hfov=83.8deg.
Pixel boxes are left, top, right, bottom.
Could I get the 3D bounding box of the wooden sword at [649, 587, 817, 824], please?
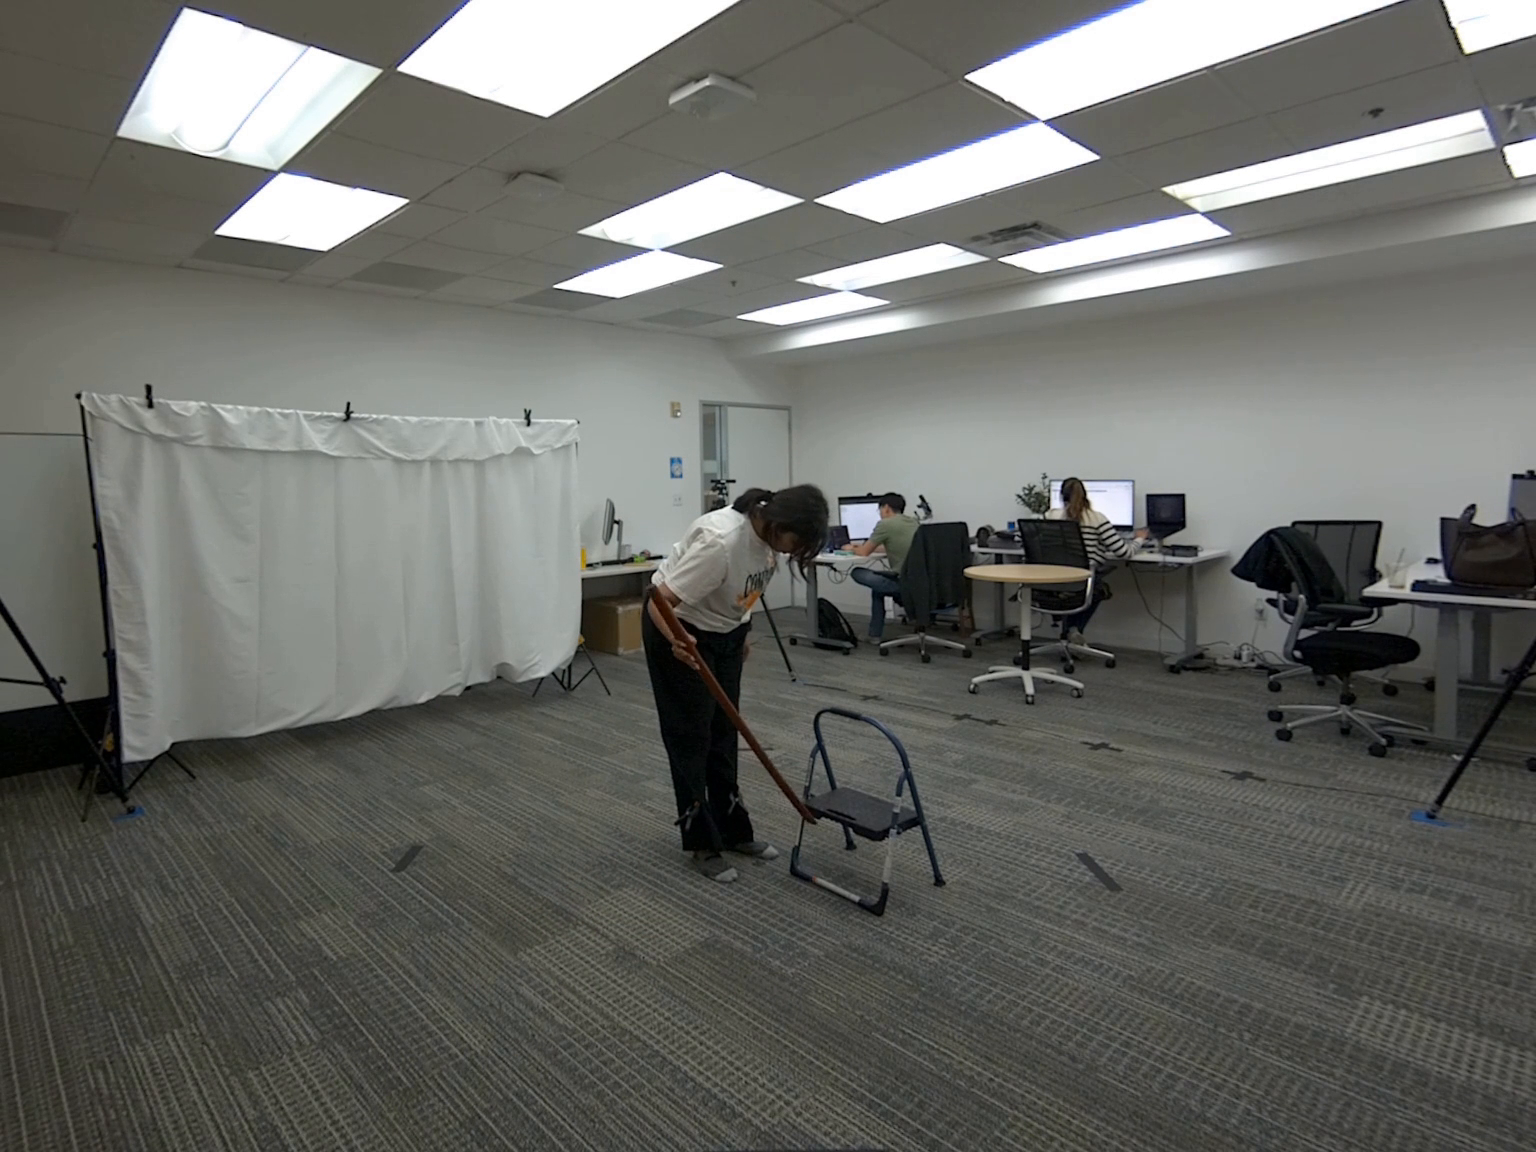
[{"bbox_3d":[-0.096,0.432,2.633,0.025,0.998,0.051,-1,36,50],"label":"wooden sword"}]
